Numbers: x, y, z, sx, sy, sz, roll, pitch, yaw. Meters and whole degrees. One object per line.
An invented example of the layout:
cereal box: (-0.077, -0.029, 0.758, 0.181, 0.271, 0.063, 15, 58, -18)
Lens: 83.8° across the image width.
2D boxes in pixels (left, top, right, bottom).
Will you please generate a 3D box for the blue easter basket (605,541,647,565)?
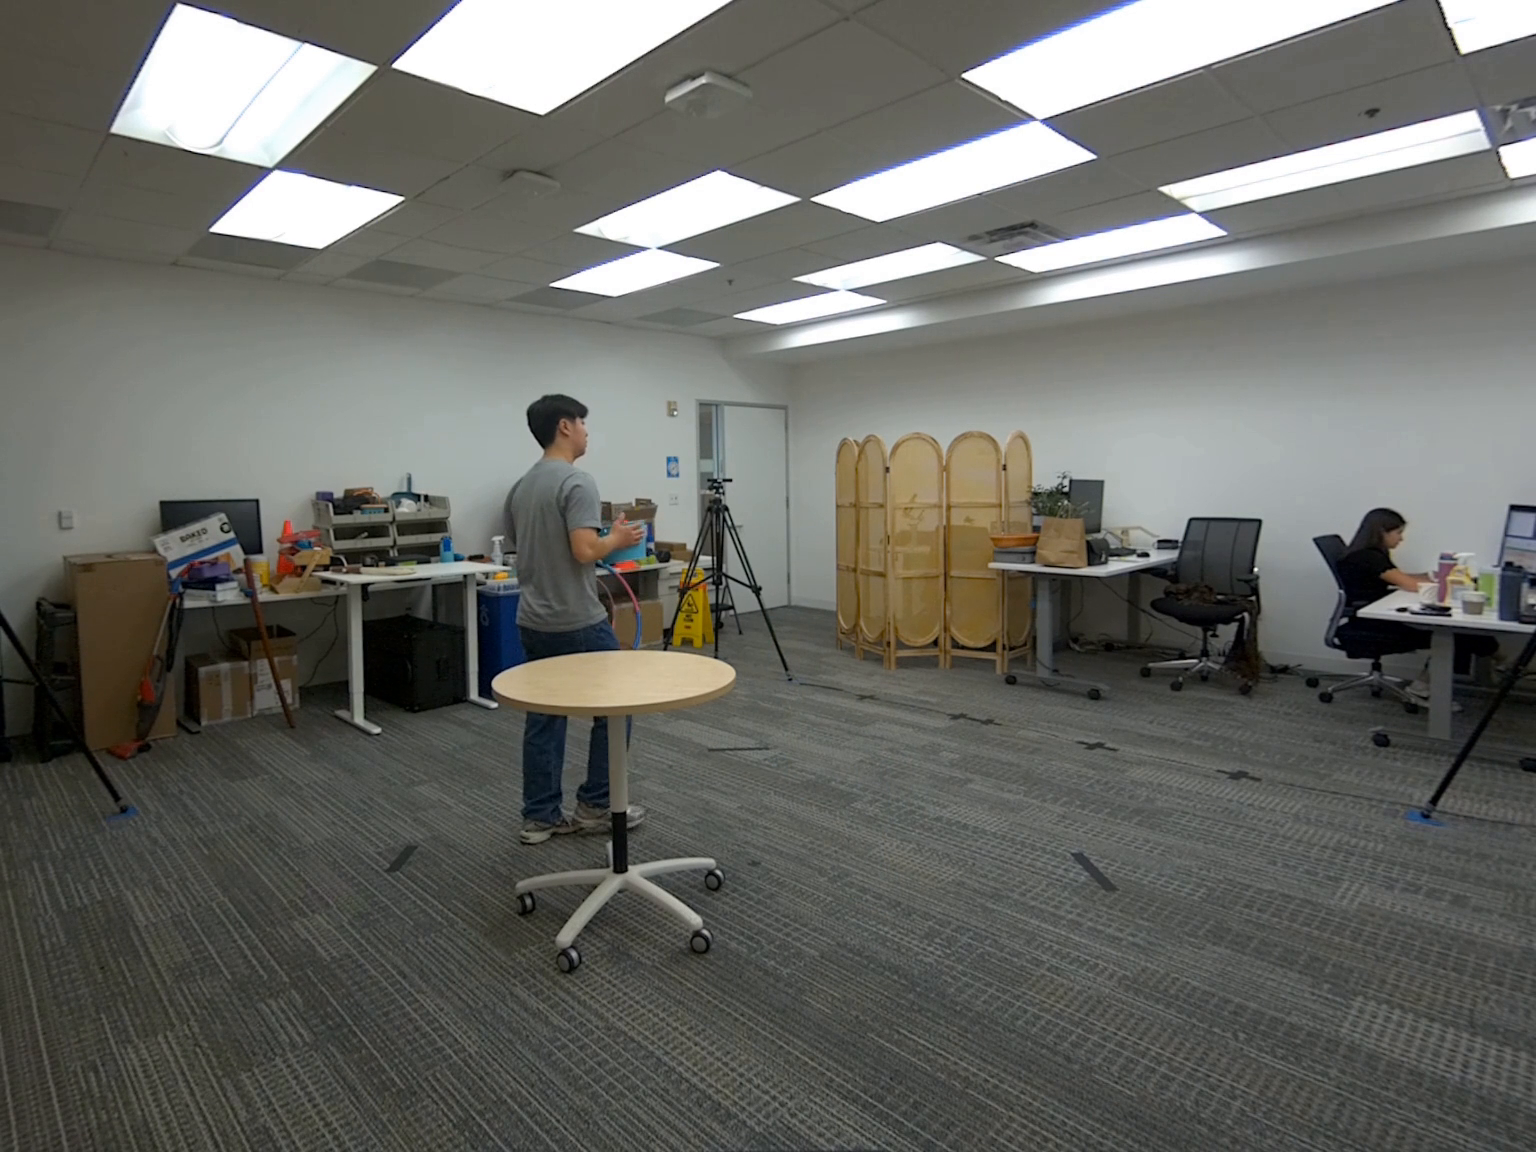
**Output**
blue easter basket: (-0.608, -0.130, 3.530, 0.243, 0.155, 0.244, -9, 4, -1)
